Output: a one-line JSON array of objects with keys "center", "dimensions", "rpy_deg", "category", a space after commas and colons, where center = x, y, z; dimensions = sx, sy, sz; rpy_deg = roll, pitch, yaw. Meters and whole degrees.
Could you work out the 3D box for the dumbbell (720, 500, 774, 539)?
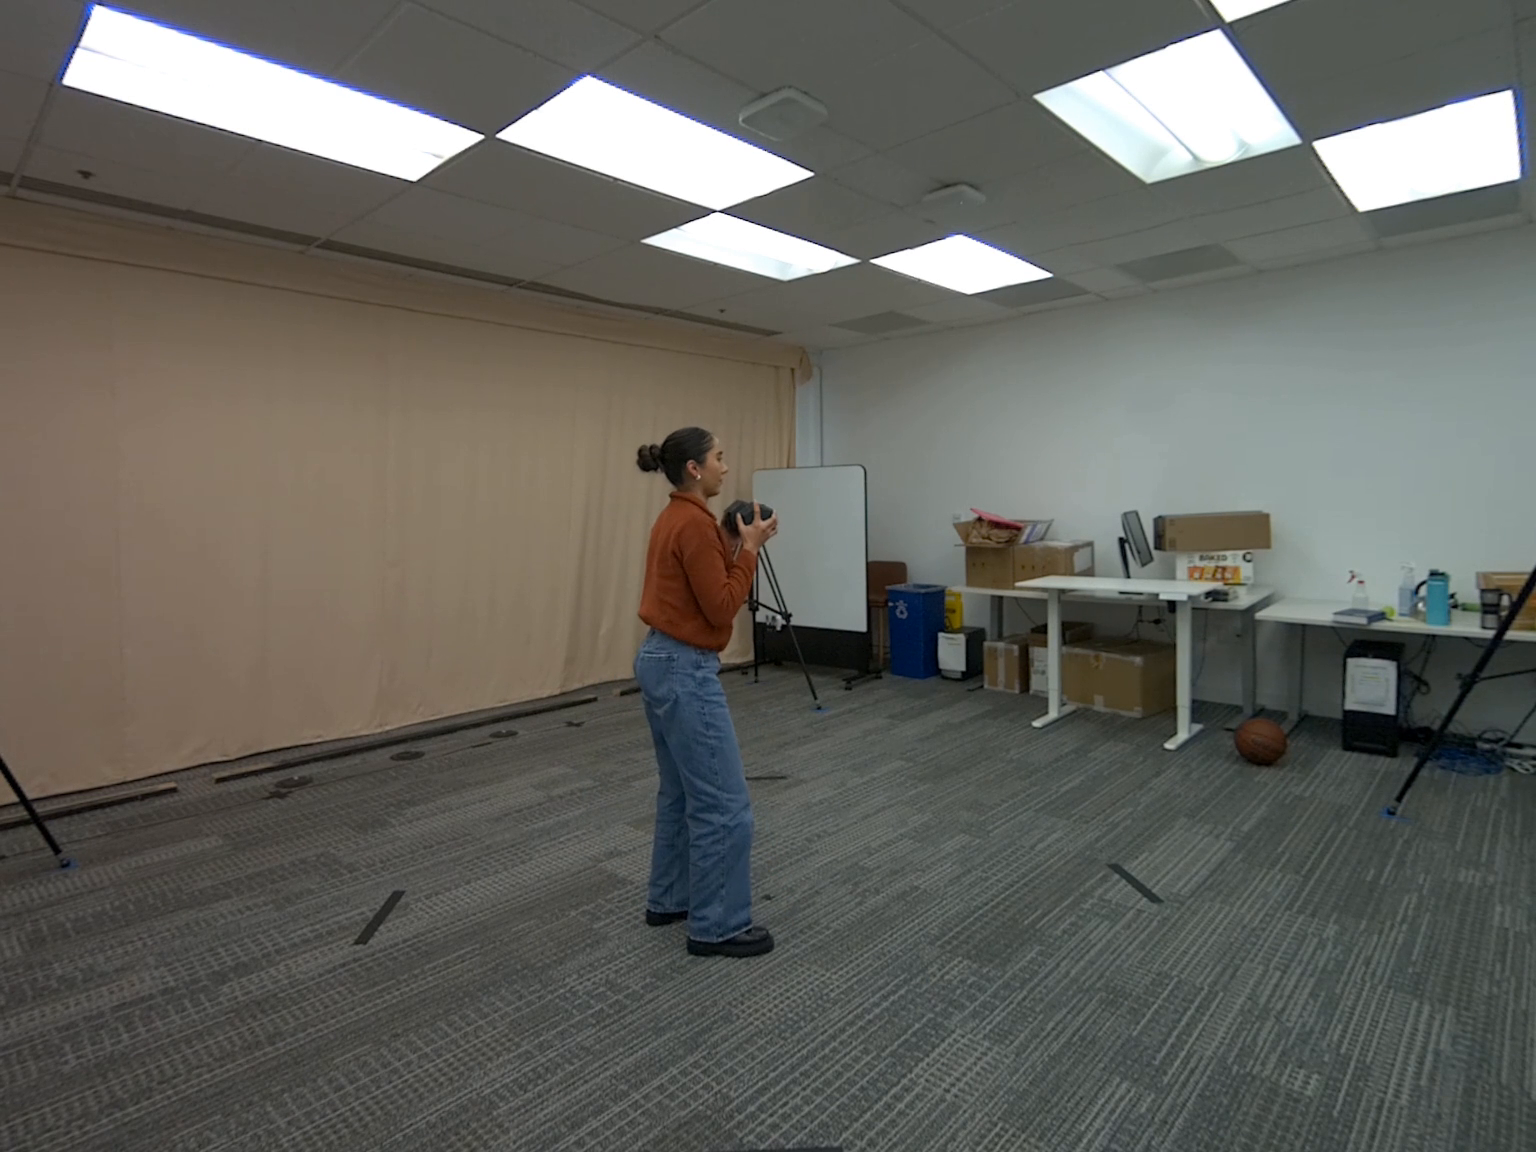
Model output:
[{"center": [-0.069, -0.169, 2.770], "dimensions": [0.107, 0.122, 0.299], "rpy_deg": [-10, 12, -13], "category": "dumbbell"}]
